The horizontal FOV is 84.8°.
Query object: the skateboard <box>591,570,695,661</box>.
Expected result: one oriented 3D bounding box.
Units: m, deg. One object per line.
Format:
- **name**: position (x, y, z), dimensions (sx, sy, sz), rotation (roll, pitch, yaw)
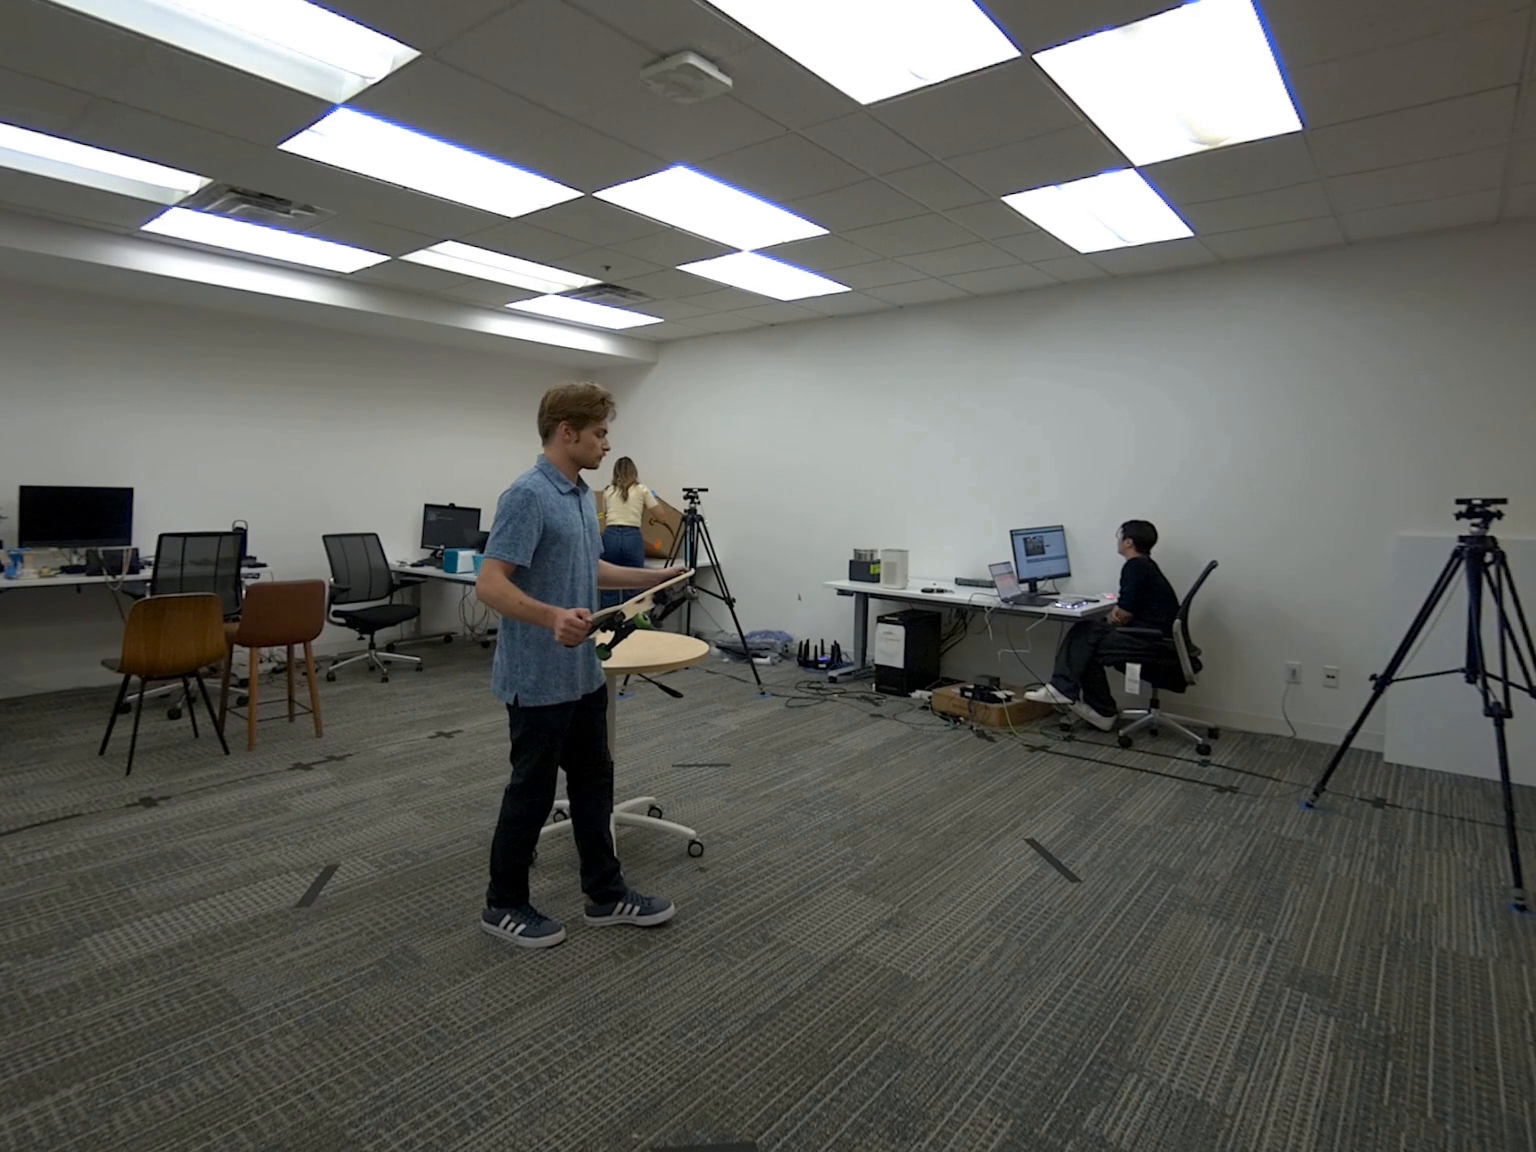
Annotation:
- **skateboard**: position (-0.396, 0.119, 2.570), dimensions (0.194, 0.111, 0.779), rotation (-38, -1, 17)
